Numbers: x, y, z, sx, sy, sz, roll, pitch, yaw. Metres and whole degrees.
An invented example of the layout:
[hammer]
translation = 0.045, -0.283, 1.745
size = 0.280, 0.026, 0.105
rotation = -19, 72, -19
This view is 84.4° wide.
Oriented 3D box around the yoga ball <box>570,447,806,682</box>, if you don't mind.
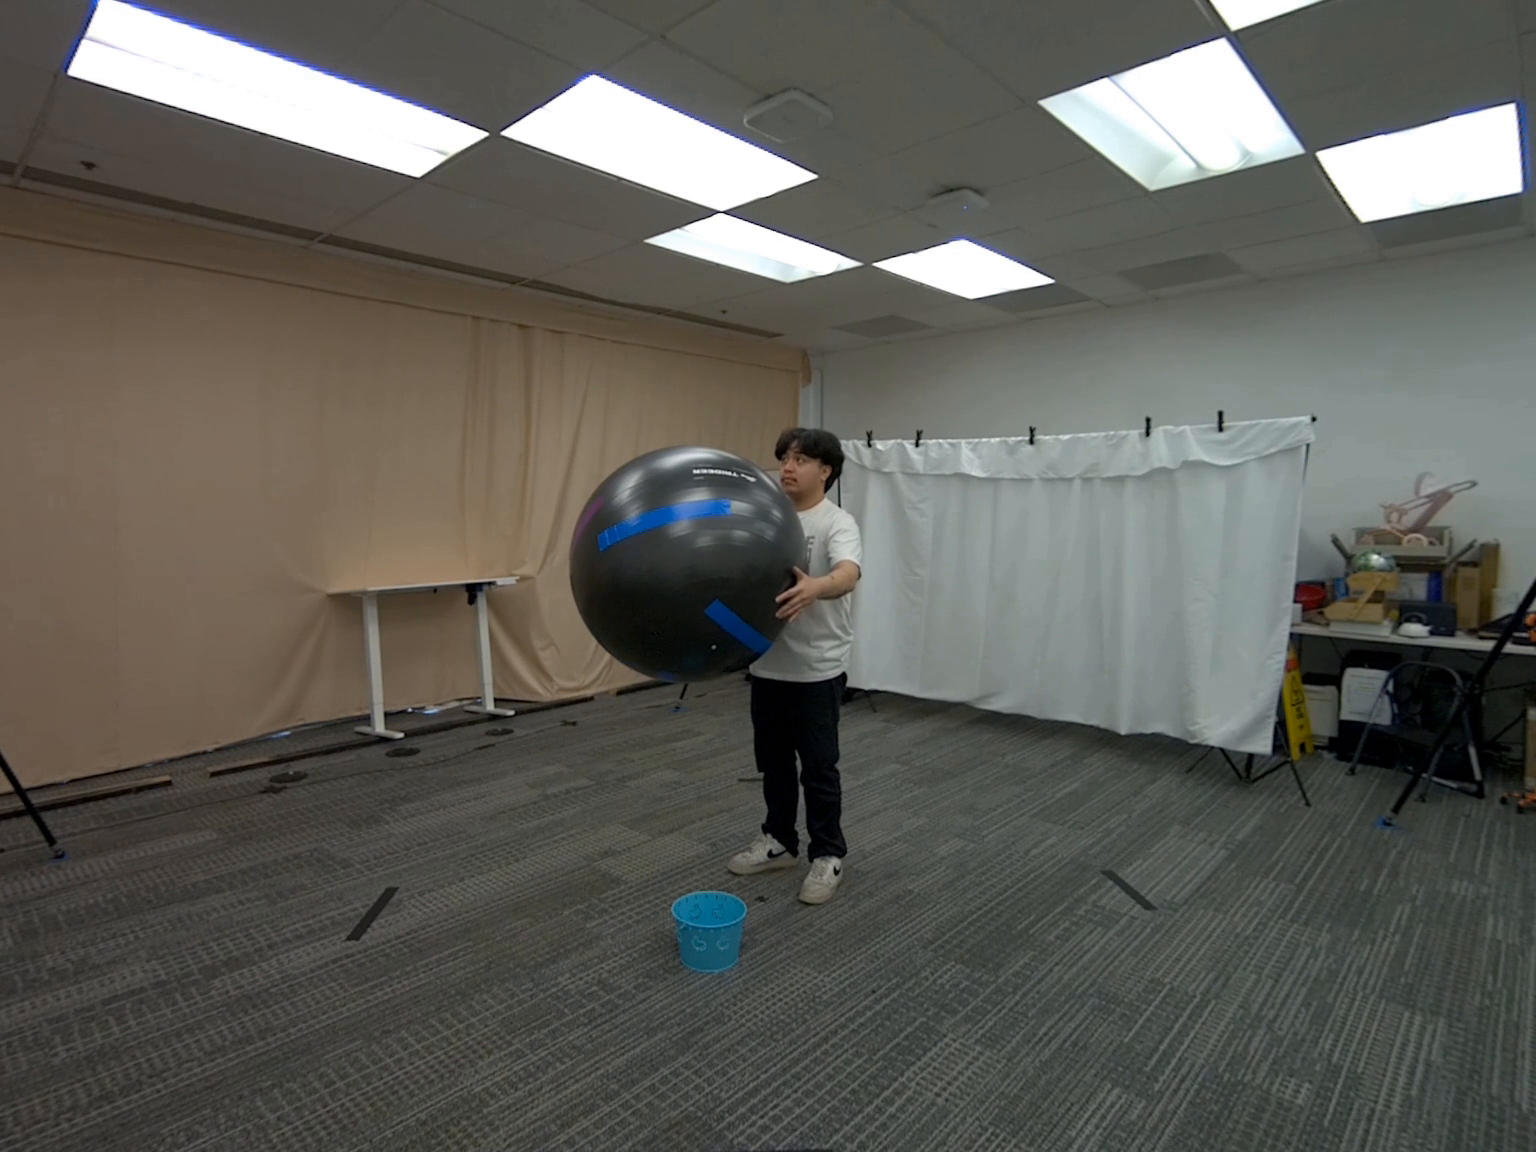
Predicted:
[yoga ball]
translation = -0.261, -0.040, 2.705
size = 0.757, 0.756, 0.760
rotation = 0, 4, -2
